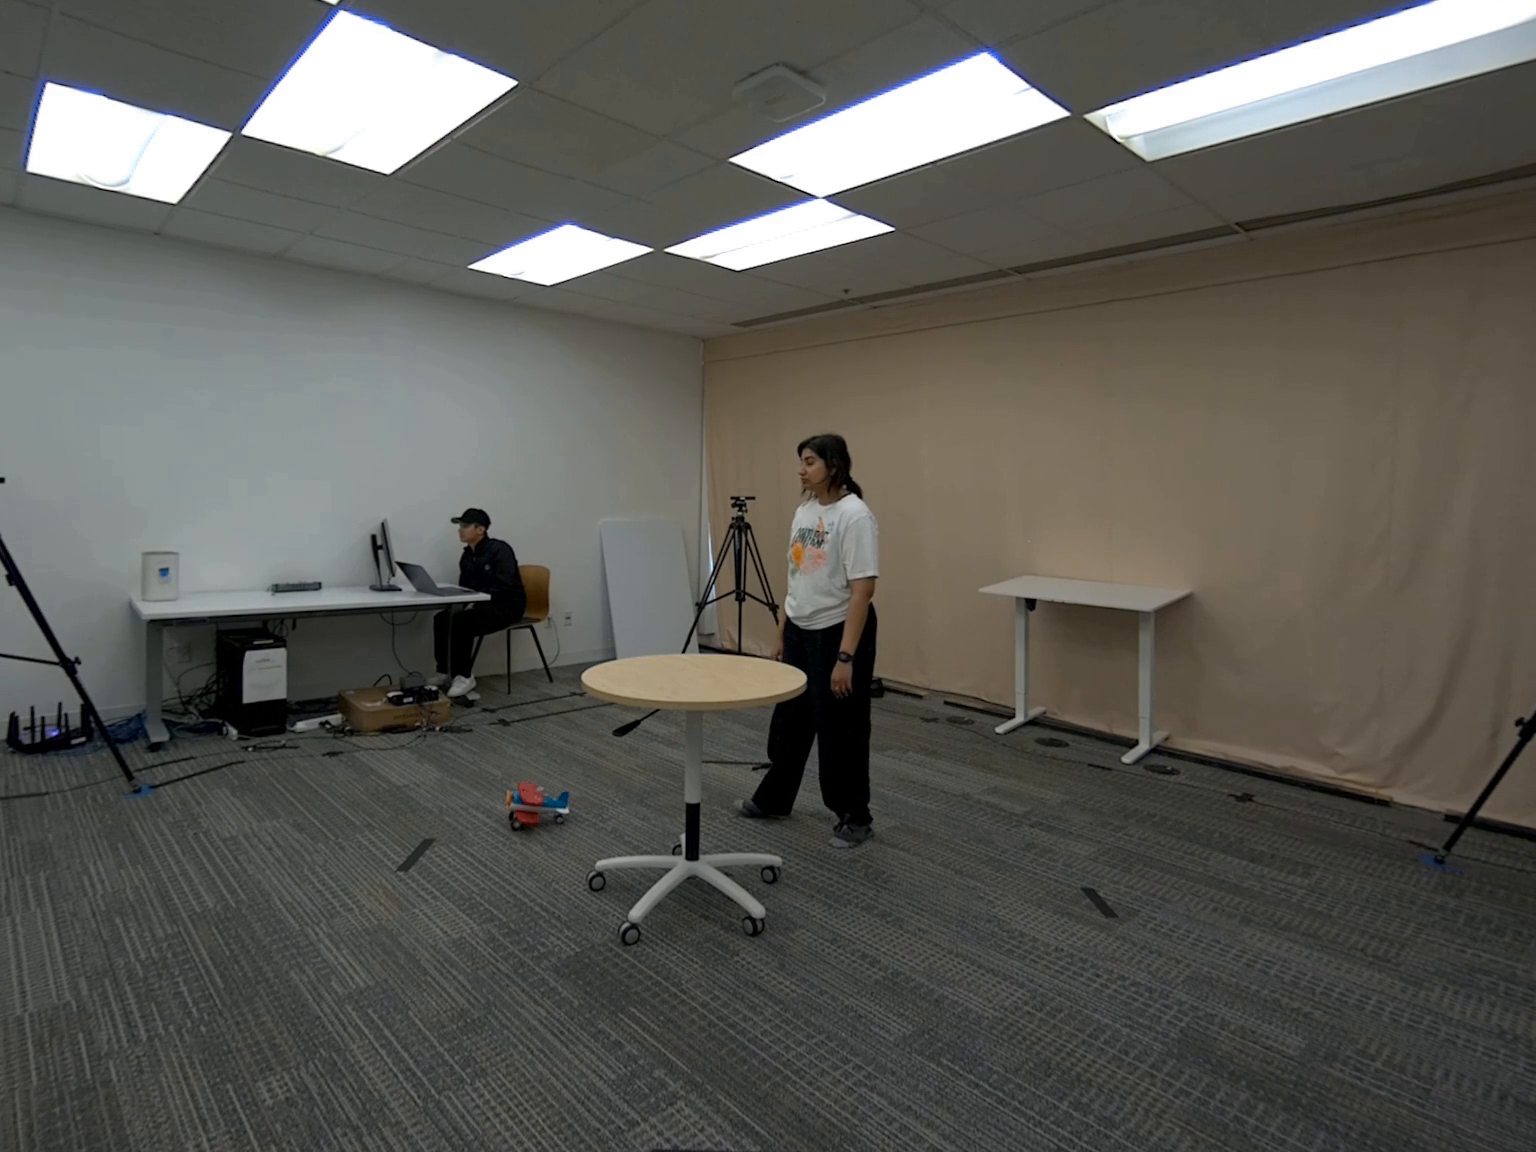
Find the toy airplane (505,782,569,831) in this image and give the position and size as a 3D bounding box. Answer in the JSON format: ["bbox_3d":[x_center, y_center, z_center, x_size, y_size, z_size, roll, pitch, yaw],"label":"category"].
[{"bbox_3d":[-0.995,0.971,3.558,0.257,0.156,0.253,5,7,41],"label":"toy airplane"}]
